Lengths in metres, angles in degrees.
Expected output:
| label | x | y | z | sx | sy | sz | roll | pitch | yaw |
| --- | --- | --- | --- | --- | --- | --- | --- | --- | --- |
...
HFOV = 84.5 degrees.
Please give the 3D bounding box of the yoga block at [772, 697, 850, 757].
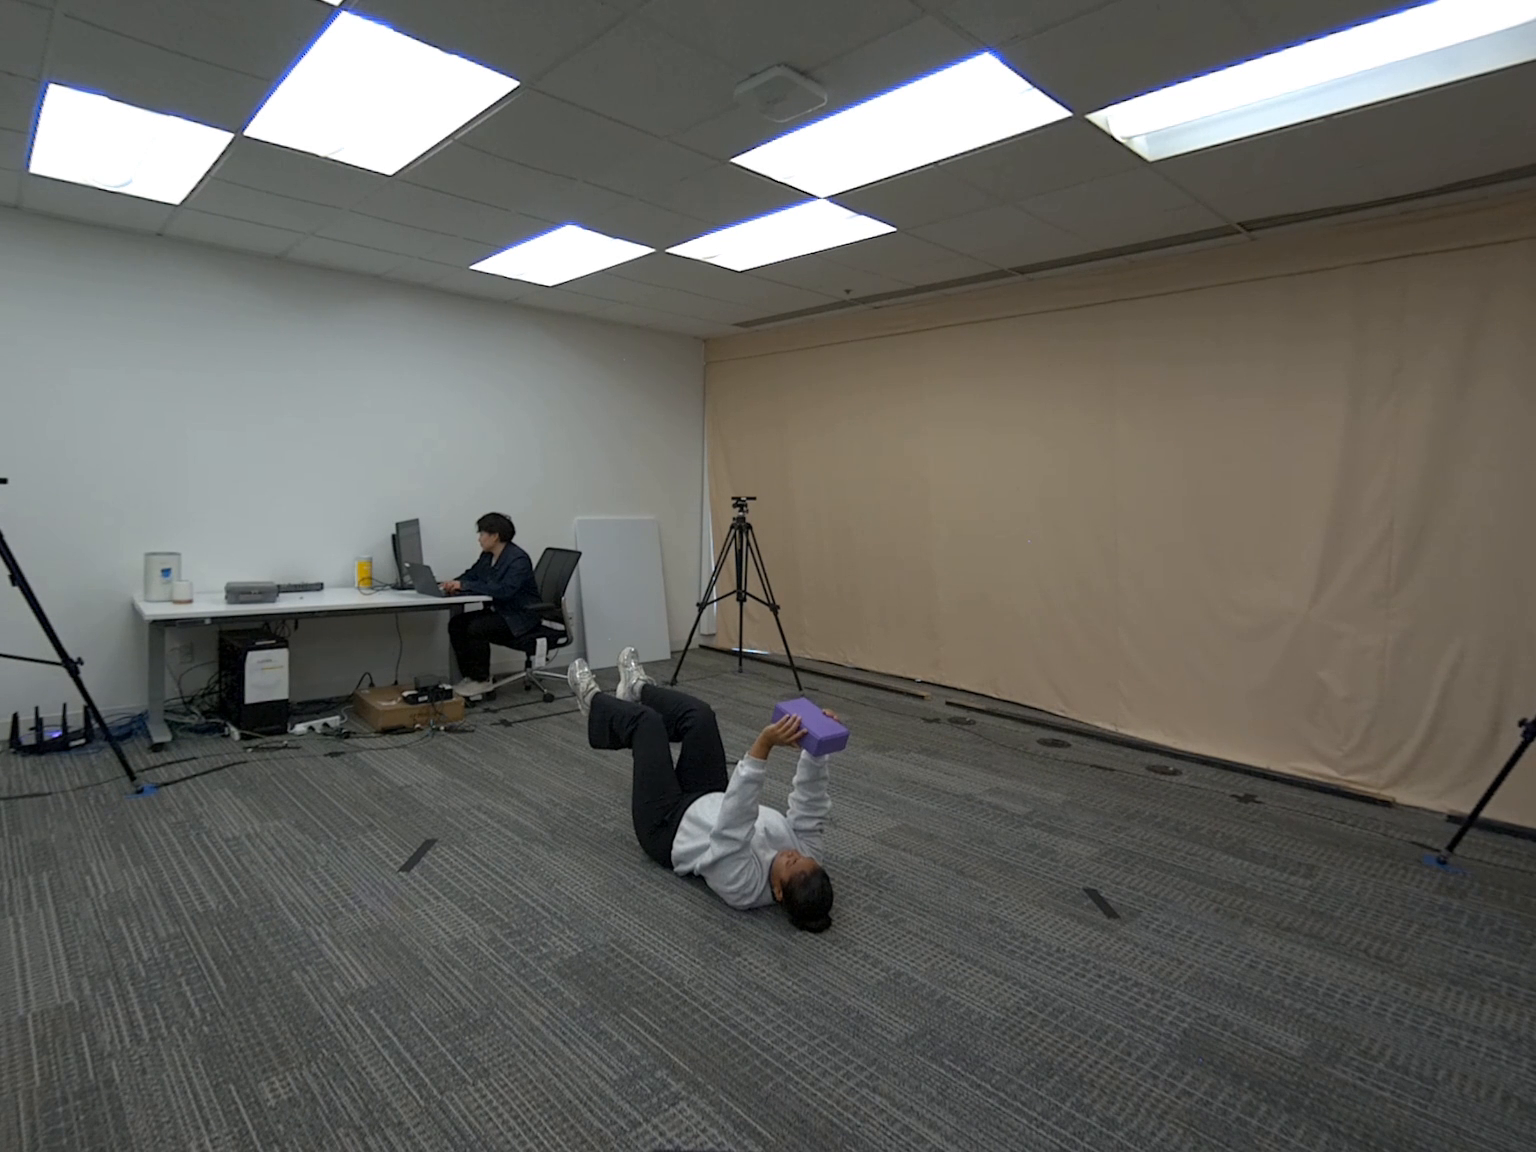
| label | x | y | z | sx | sy | sz | roll | pitch | yaw |
| --- | --- | --- | --- | --- | --- | --- | --- | --- | --- |
| yoga block | 0.138 | 0.505 | 2.789 | 0.146 | 0.076 | 0.237 | -5 | 26 | -43 |
